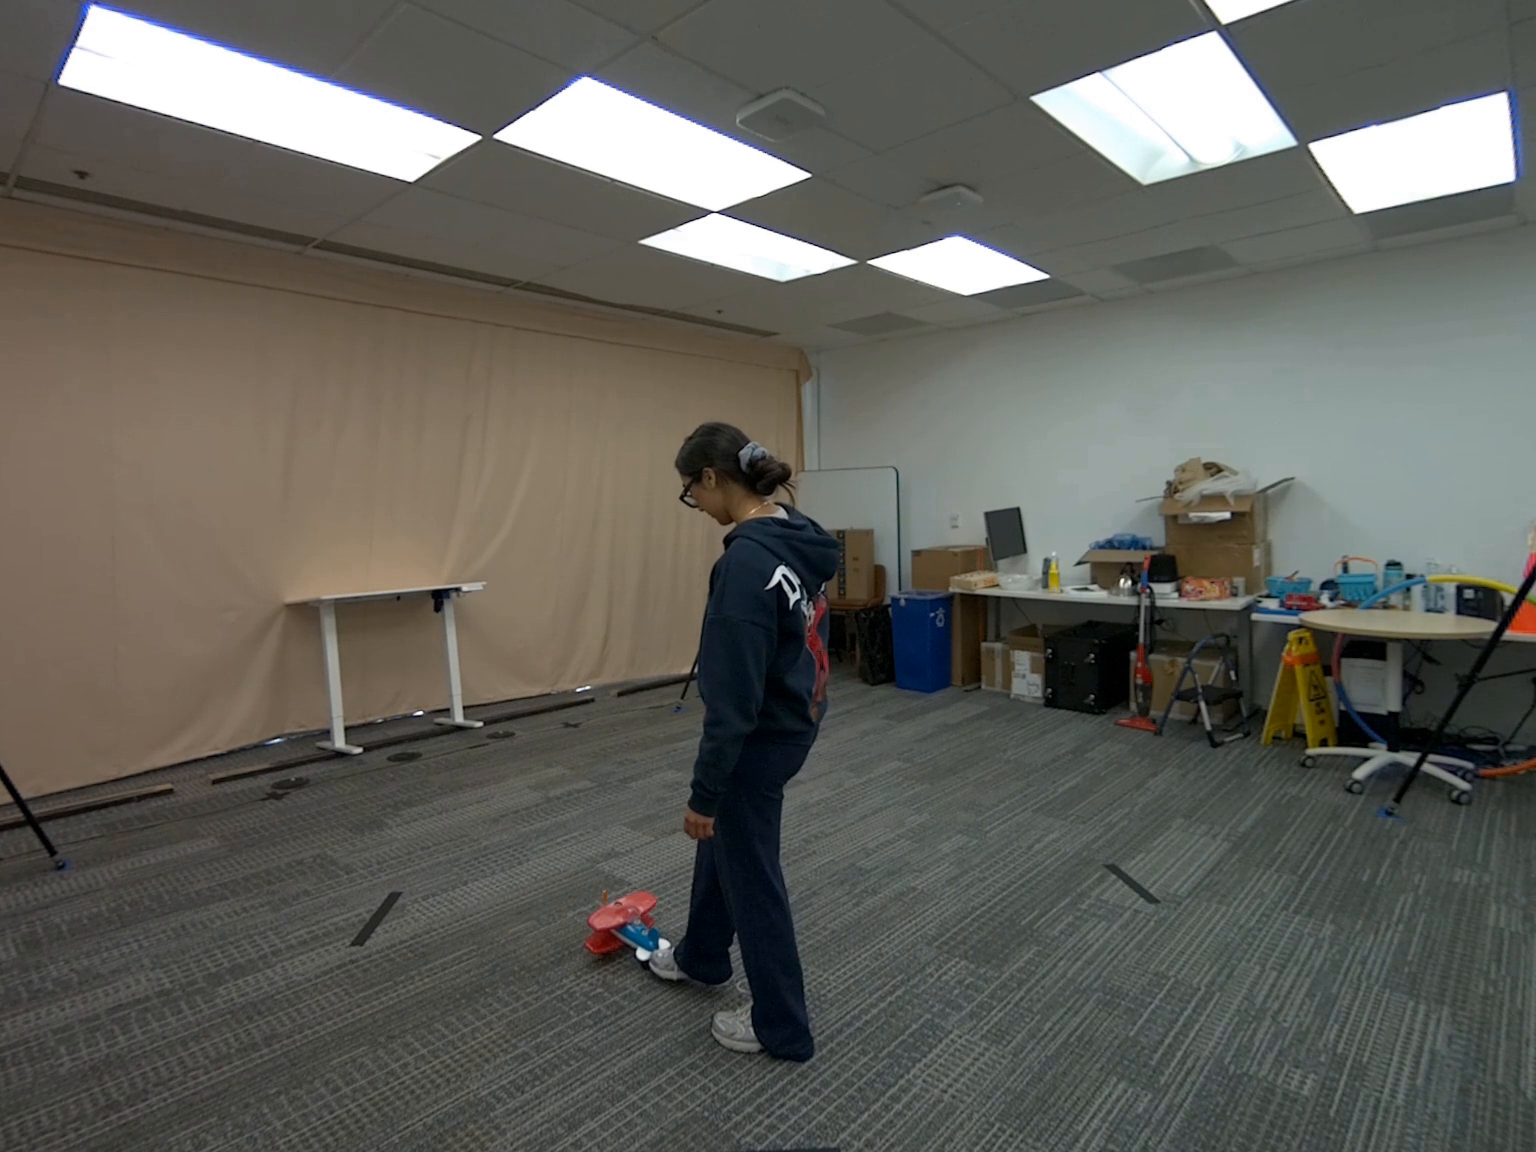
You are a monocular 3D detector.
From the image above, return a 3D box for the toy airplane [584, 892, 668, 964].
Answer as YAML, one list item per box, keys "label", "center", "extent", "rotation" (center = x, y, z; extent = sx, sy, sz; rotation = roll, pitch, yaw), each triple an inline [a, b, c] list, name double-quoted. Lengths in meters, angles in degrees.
- label: "toy airplane"
  center: [-0.419, 1.104, 2.626]
  extent: [0.263, 0.156, 0.248]
  rotation: [-2, 5, 12]
